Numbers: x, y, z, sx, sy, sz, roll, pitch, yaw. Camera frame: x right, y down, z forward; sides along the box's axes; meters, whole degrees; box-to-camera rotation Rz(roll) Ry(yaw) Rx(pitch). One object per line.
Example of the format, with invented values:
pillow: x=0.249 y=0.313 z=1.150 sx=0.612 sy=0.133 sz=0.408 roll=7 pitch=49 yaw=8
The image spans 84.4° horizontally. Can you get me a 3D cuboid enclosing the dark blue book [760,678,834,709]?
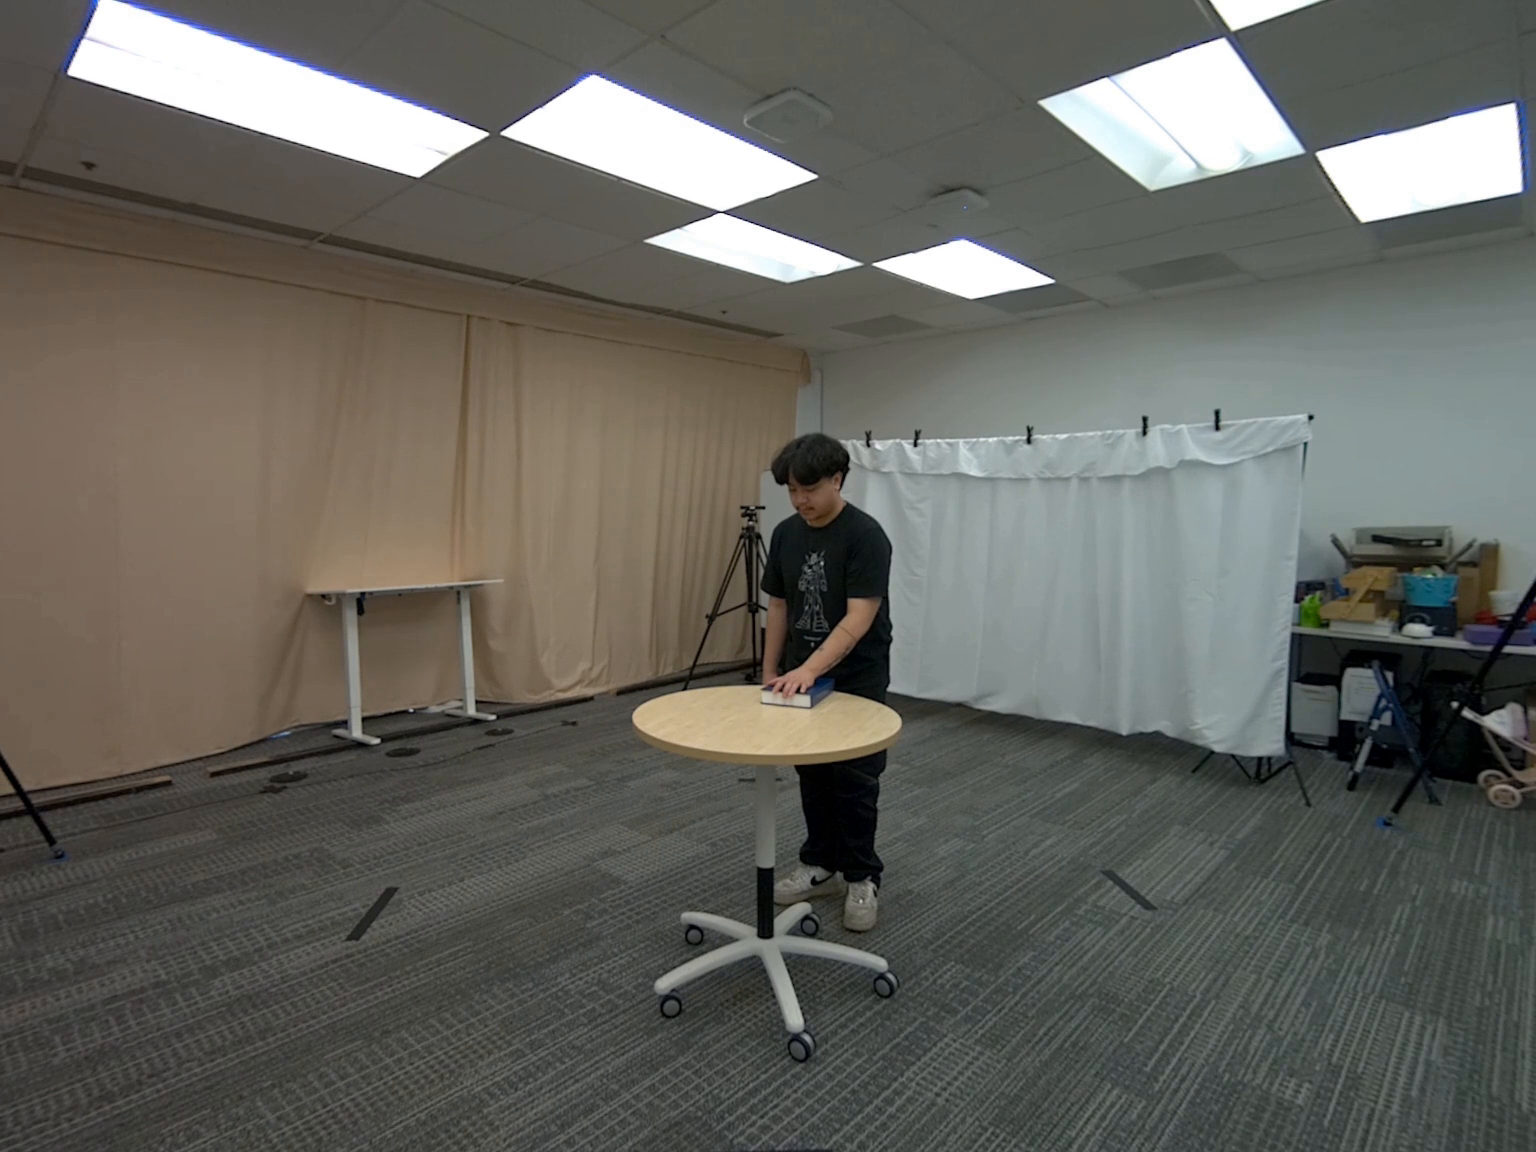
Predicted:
dark blue book: x=0.086 y=0.359 z=2.632 sx=0.167 sy=0.045 sz=0.240 roll=3 pitch=6 yaw=21
